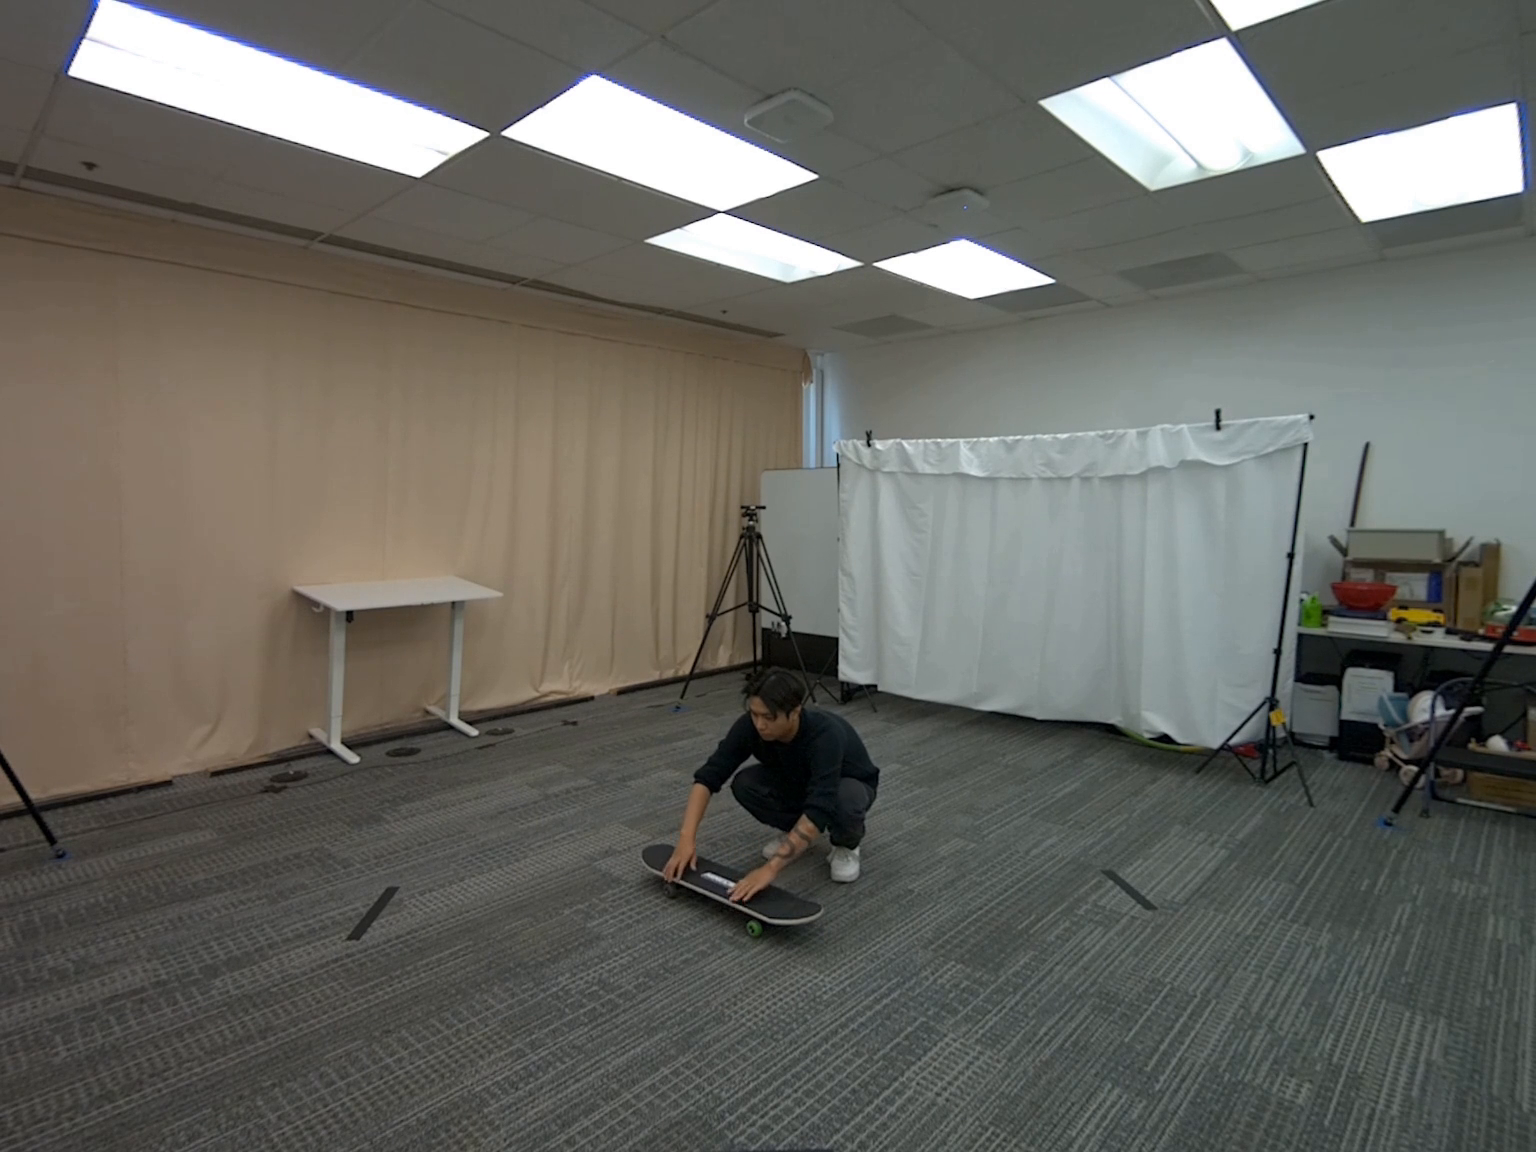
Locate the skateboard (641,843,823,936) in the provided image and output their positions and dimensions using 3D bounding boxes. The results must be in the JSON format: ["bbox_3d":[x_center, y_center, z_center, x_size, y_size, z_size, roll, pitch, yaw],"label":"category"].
[{"bbox_3d":[-0.151,1.086,2.913,0.812,0.110,0.187,4,7,43],"label":"skateboard"}]
